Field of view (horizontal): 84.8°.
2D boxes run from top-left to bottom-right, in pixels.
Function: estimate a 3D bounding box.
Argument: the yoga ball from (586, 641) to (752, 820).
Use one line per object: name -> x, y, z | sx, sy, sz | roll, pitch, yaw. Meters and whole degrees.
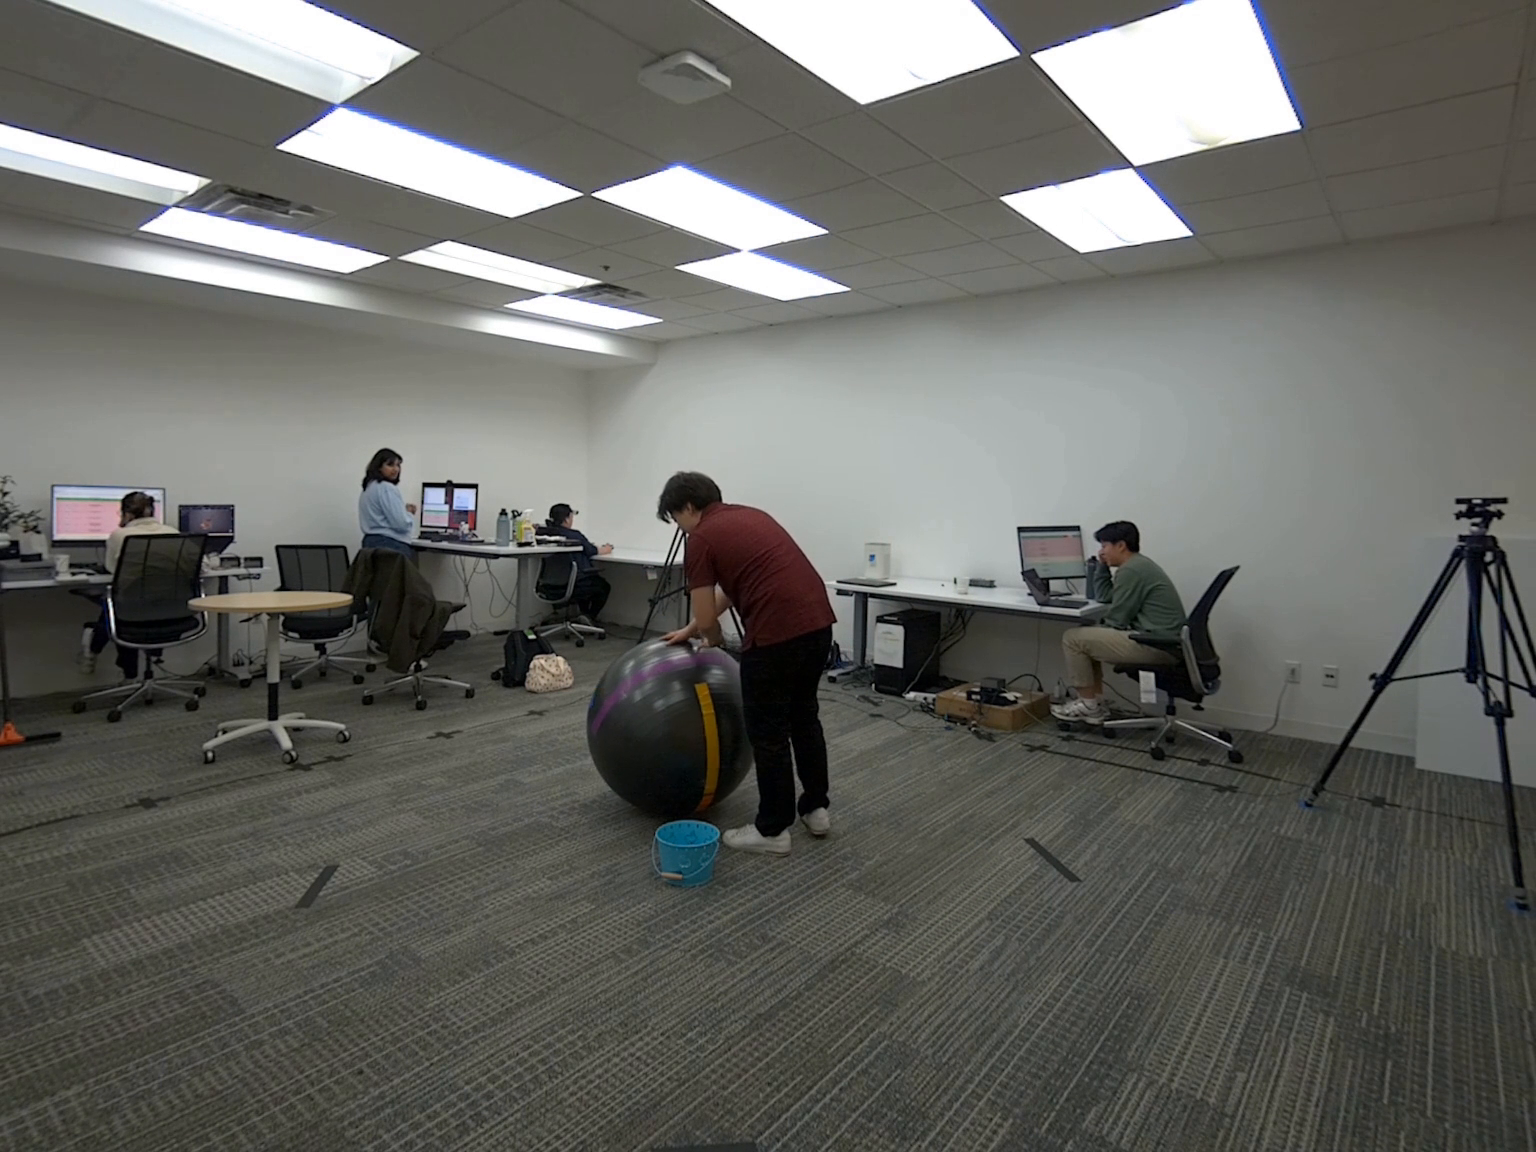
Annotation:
yoga ball -> -0.424, 0.647, 3.706 | 0.757, 0.755, 0.762 | 1, 4, -2
